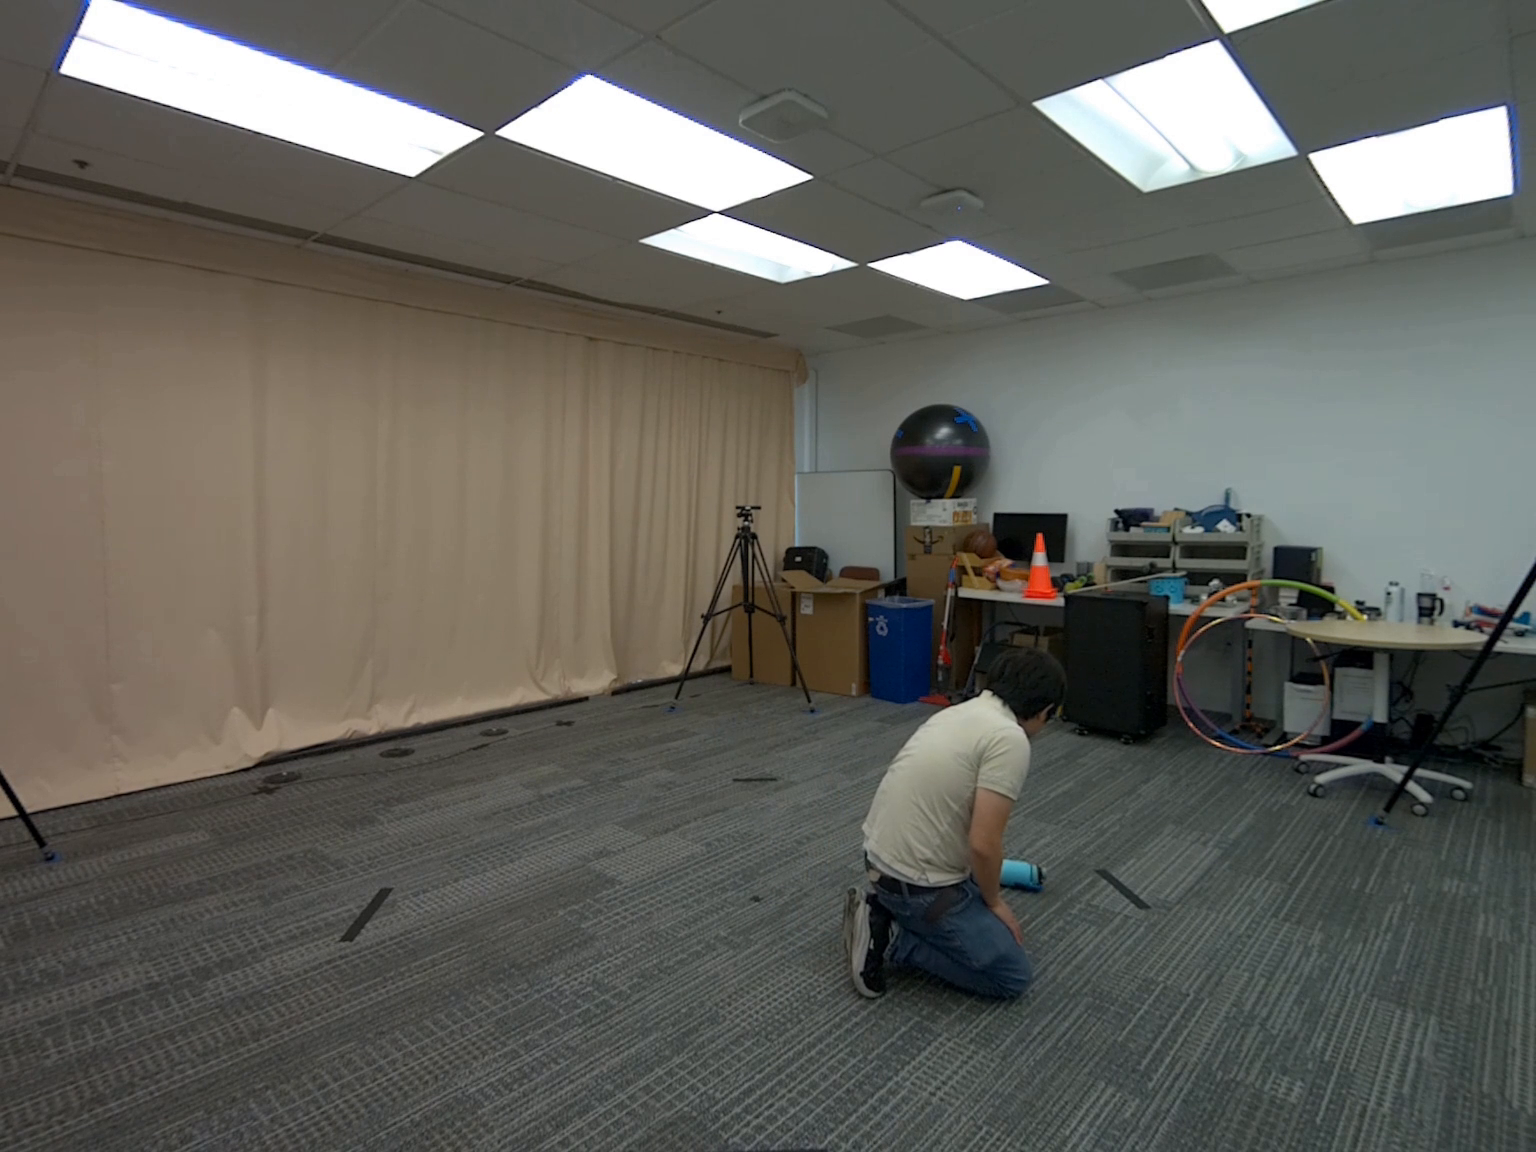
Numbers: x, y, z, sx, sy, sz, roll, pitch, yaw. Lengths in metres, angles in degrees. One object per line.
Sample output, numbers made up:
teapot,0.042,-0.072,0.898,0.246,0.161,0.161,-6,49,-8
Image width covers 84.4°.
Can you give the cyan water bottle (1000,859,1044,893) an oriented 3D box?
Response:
cyan water bottle,0.875,1.086,3.082,0.289,0.092,0.090,1,4,20
